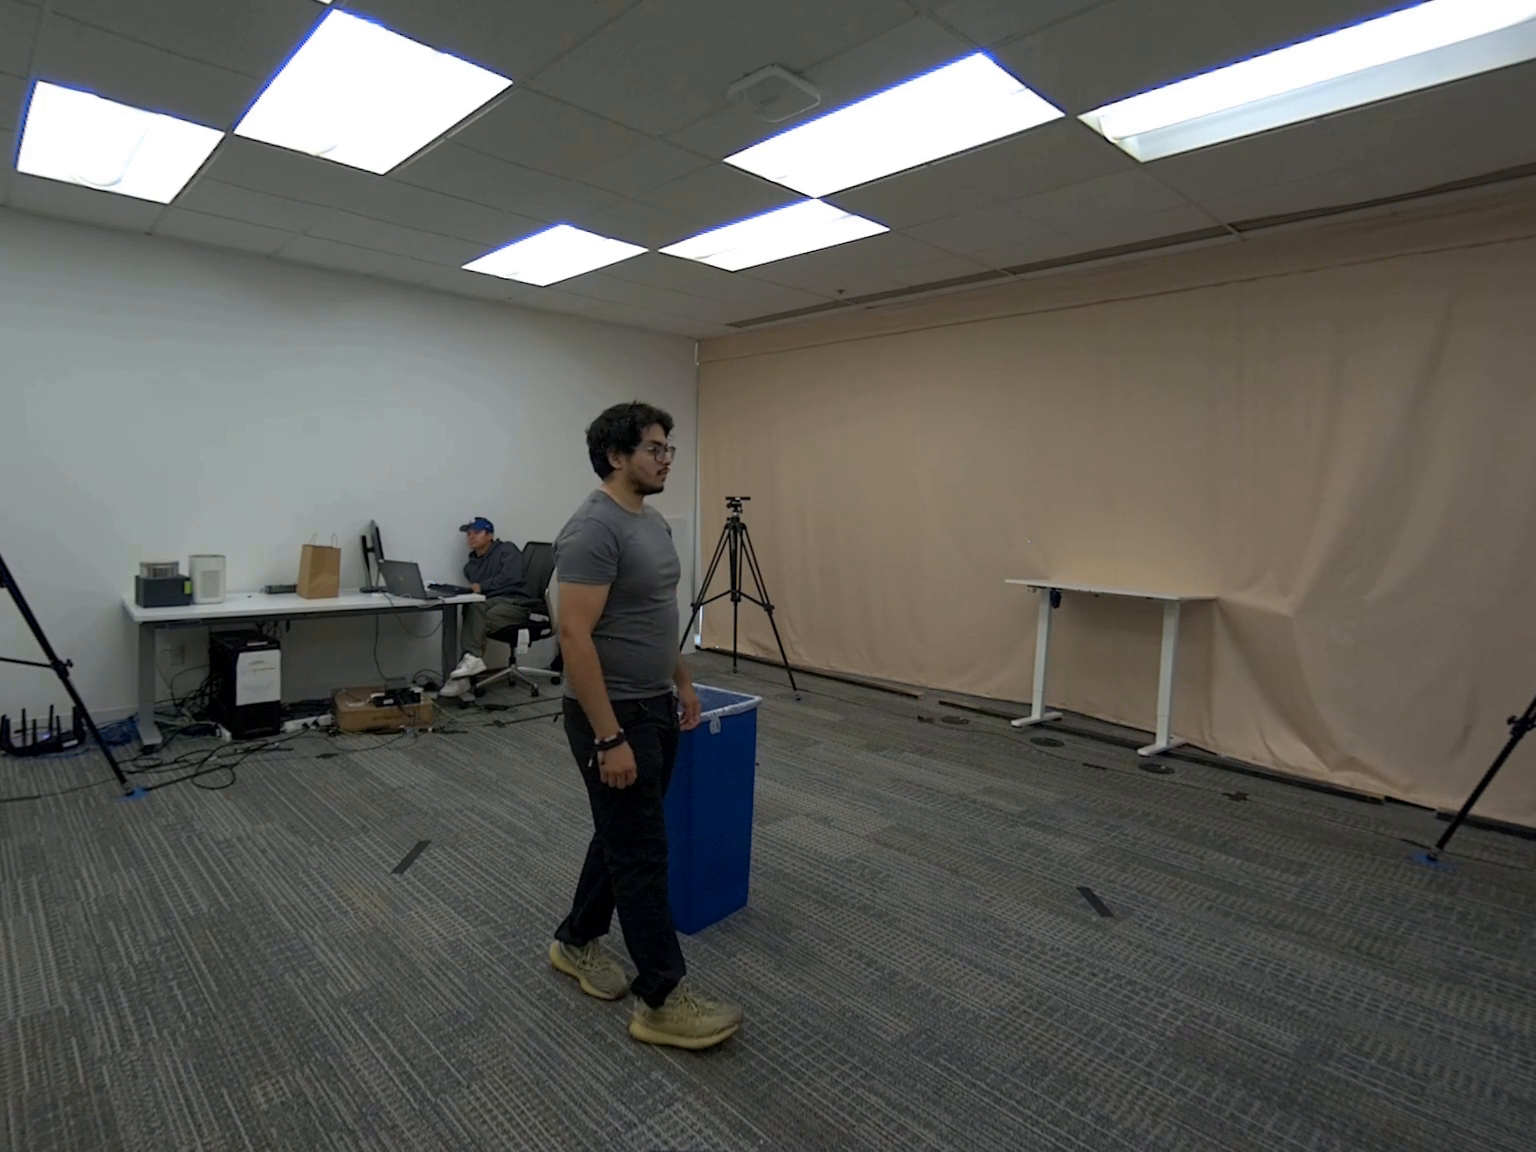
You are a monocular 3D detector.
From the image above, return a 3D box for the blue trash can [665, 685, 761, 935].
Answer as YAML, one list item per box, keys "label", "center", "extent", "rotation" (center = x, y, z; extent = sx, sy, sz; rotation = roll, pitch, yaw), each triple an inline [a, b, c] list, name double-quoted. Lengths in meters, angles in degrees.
- label: "blue trash can"
  center: [-0.280, 0.767, 2.861]
  extent: [0.383, 0.712, 0.369]
  rotation: [4, 4, 39]
